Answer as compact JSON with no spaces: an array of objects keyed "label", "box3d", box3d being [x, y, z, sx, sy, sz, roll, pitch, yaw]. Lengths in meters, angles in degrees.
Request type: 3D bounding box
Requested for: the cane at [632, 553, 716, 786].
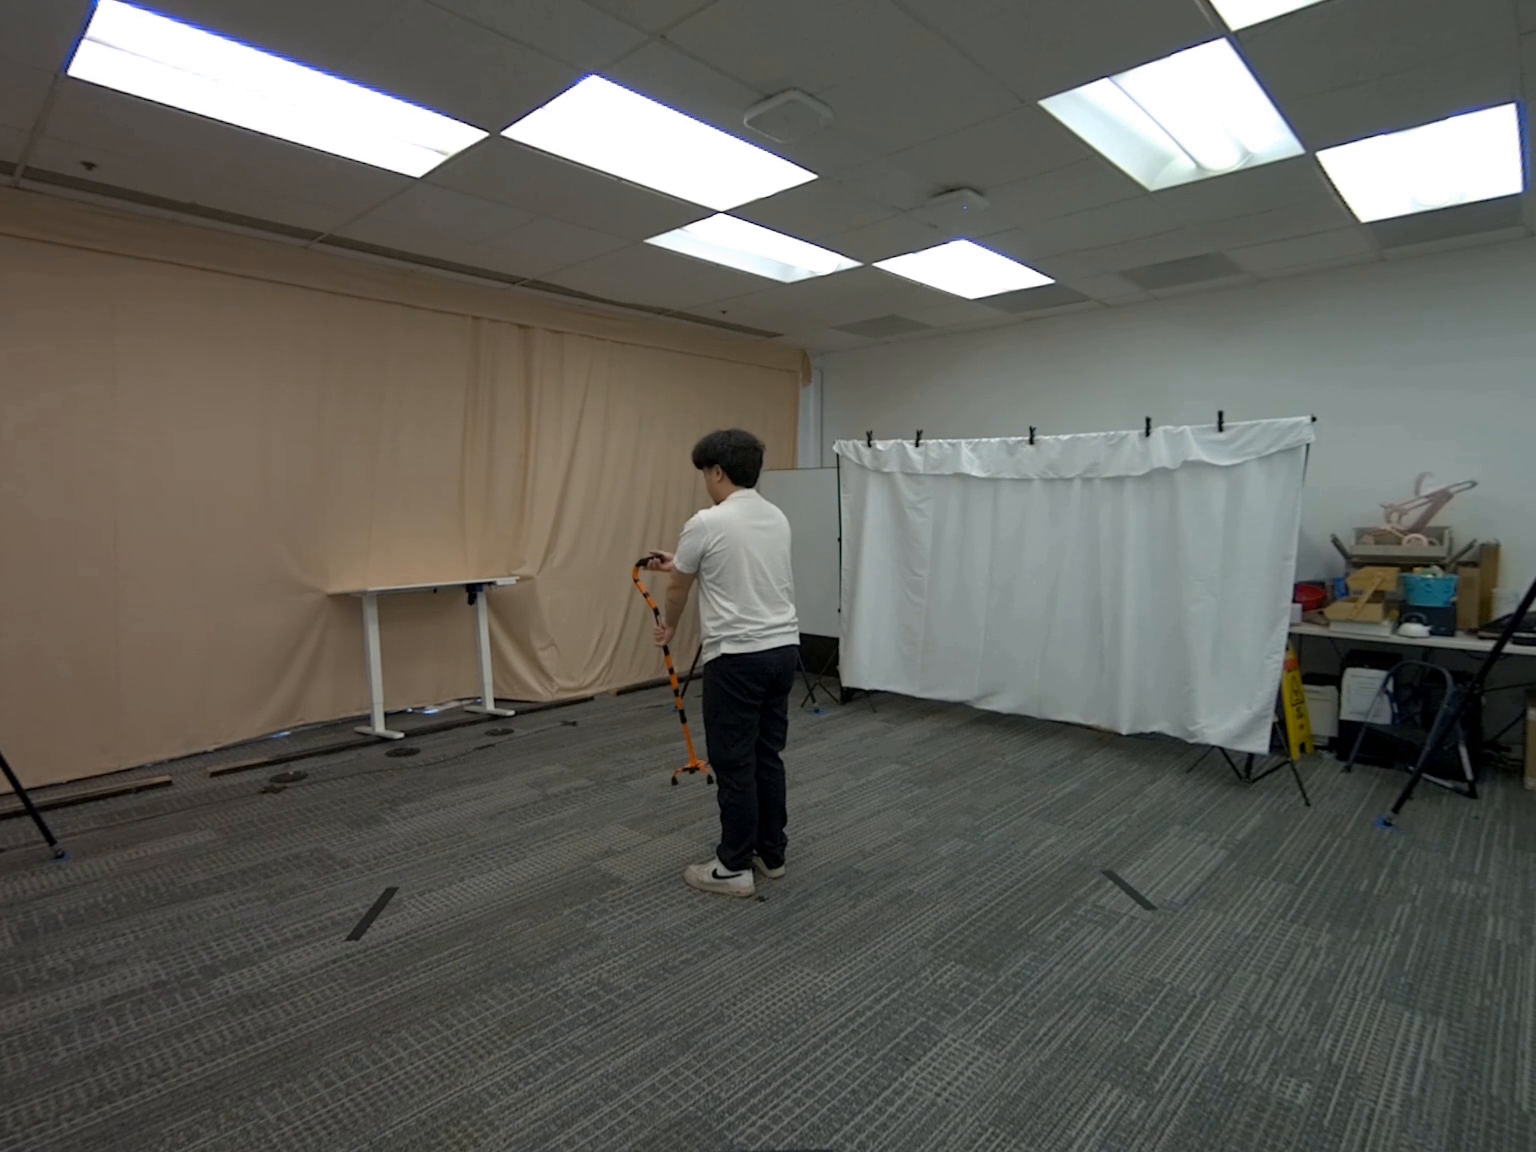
[{"label":"cane","box3d":[-0.376,0.382,3.364,0.211,0.906,0.148,-13,3,28]}]
